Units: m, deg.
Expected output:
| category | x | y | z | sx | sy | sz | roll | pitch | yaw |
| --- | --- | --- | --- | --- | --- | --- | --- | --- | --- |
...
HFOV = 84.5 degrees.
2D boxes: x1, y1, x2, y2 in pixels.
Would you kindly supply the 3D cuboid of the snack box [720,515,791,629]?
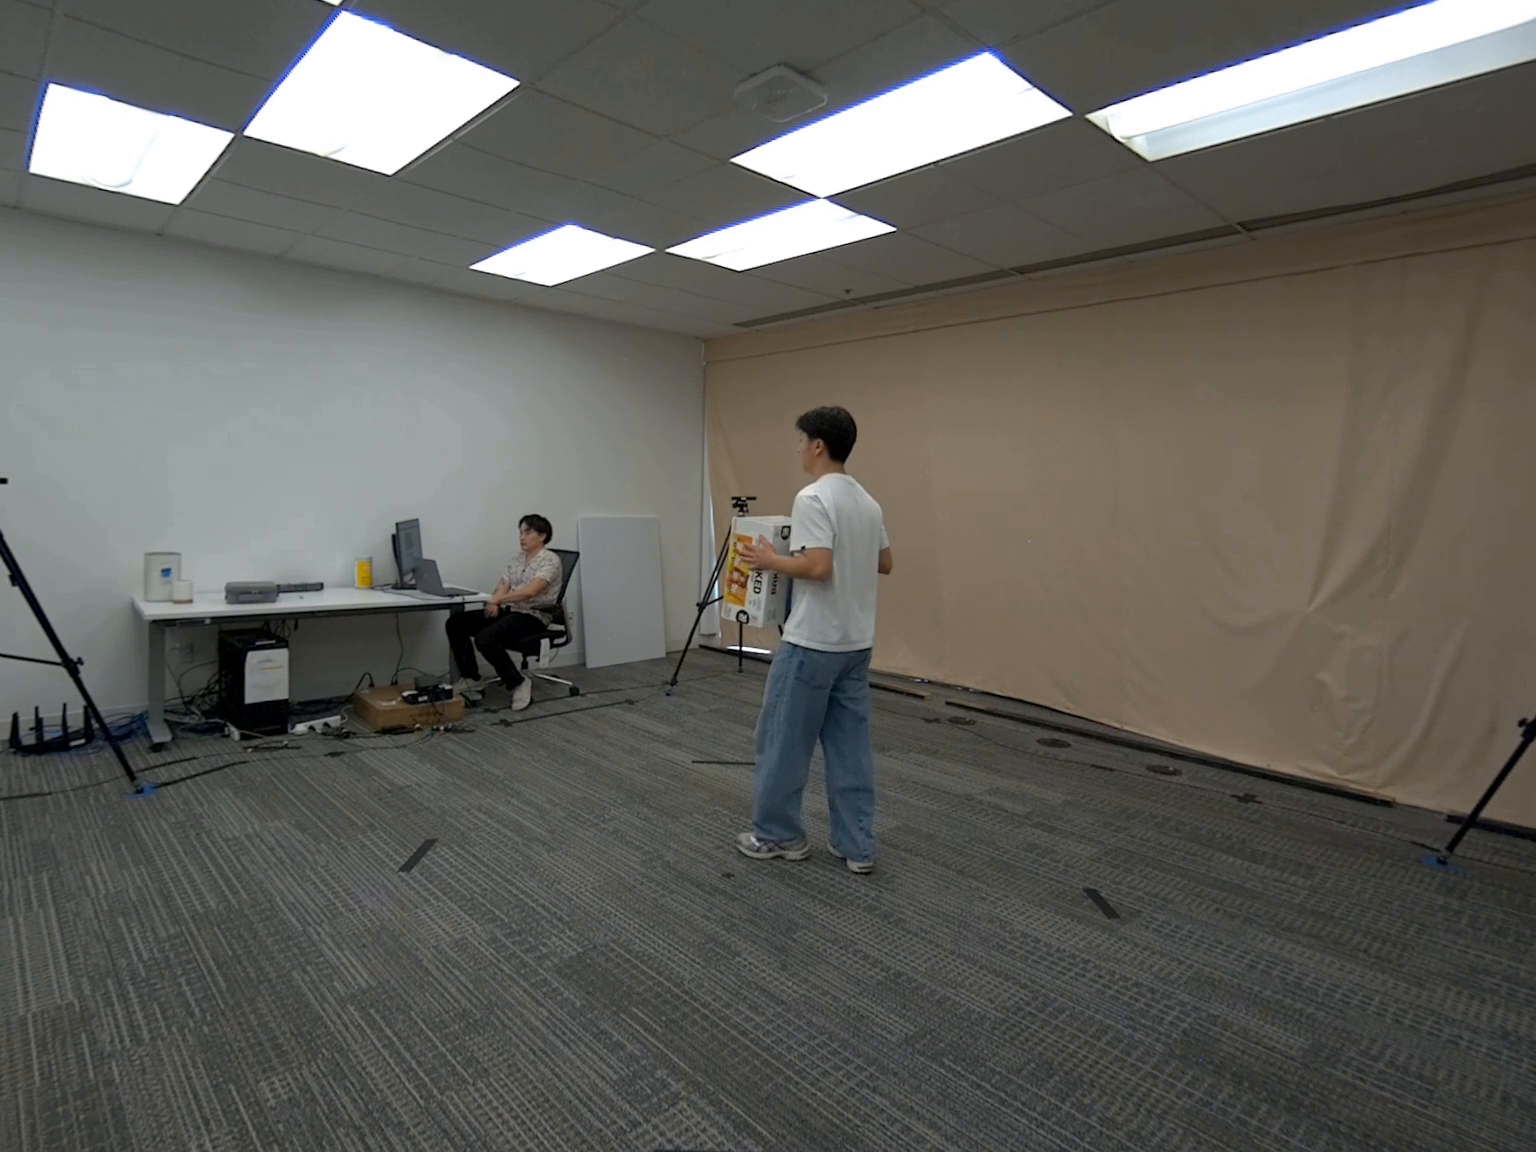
| category | x | y | z | sx | sy | sz | roll | pitch | yaw |
| --- | --- | --- | --- | --- | --- | --- | --- | --- | --- |
| snack box | 0.009 | -0.024 | 3.376 | 0.211 | 0.403 | 0.333 | 11 | 10 | 34 |
